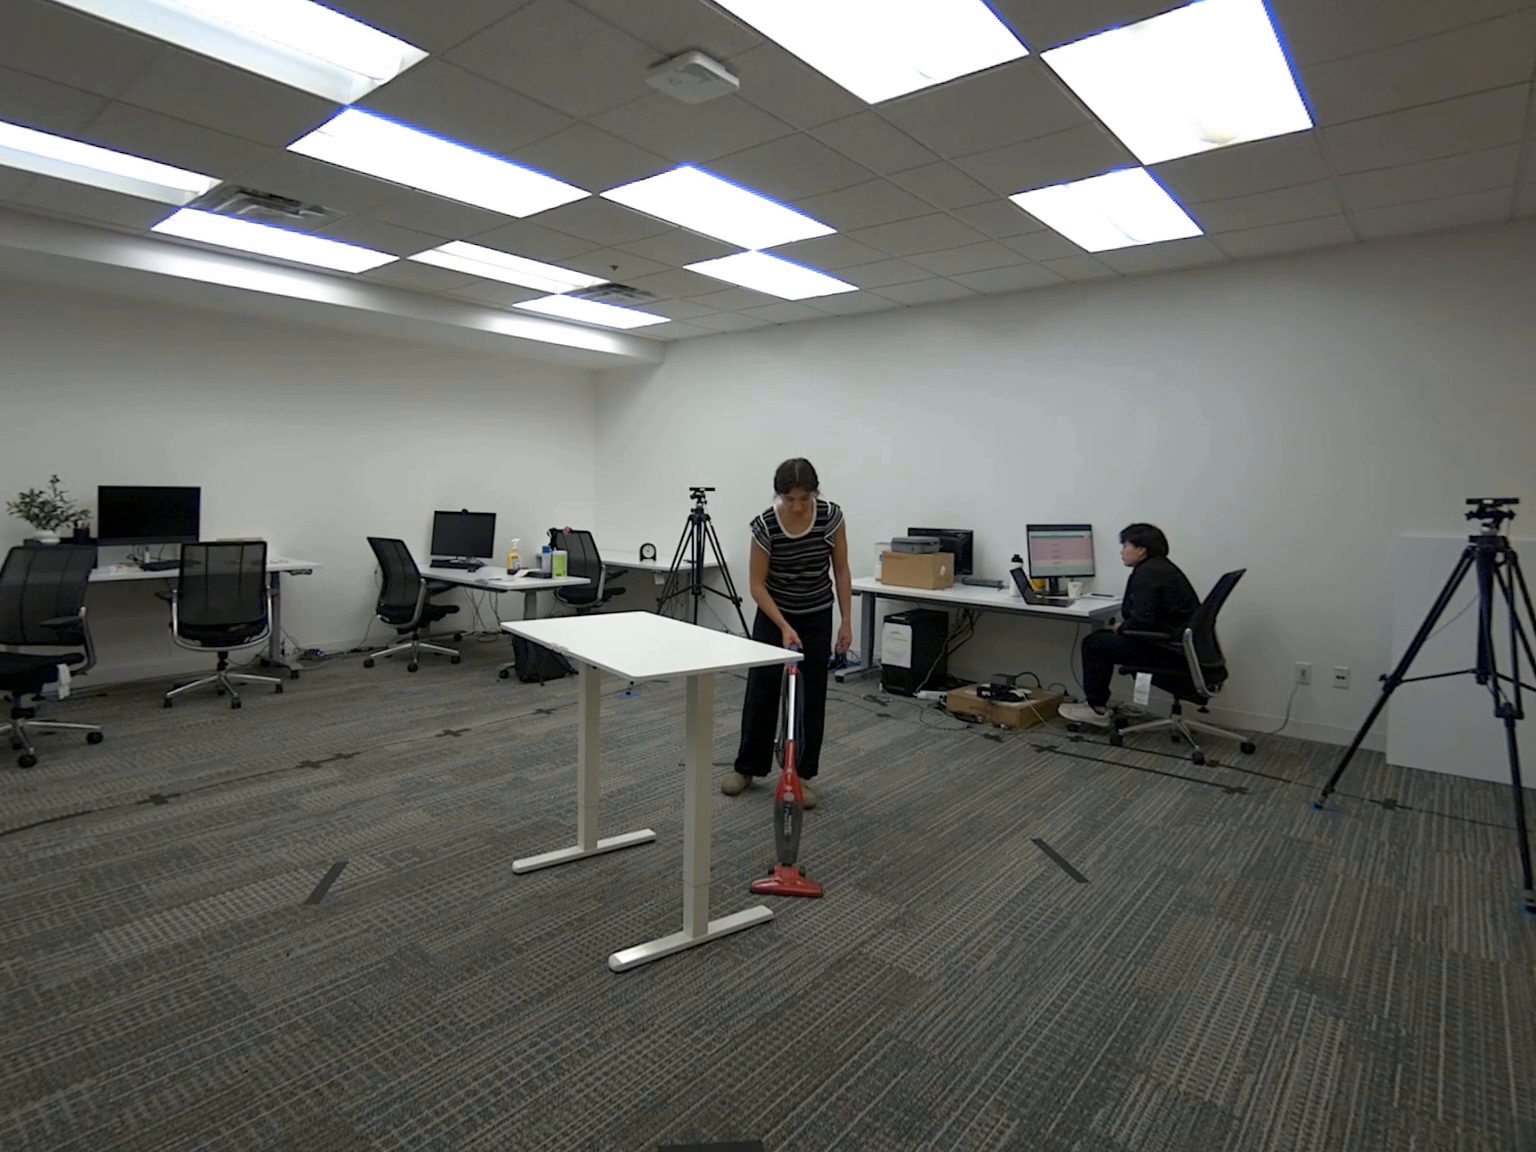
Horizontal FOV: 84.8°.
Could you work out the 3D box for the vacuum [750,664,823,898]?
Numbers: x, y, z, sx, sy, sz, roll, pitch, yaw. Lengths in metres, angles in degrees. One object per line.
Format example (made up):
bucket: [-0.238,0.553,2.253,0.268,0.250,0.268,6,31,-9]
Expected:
vacuum: [0.085,0.669,3.325,0.253,1.077,0.140,3,-39,-1]
